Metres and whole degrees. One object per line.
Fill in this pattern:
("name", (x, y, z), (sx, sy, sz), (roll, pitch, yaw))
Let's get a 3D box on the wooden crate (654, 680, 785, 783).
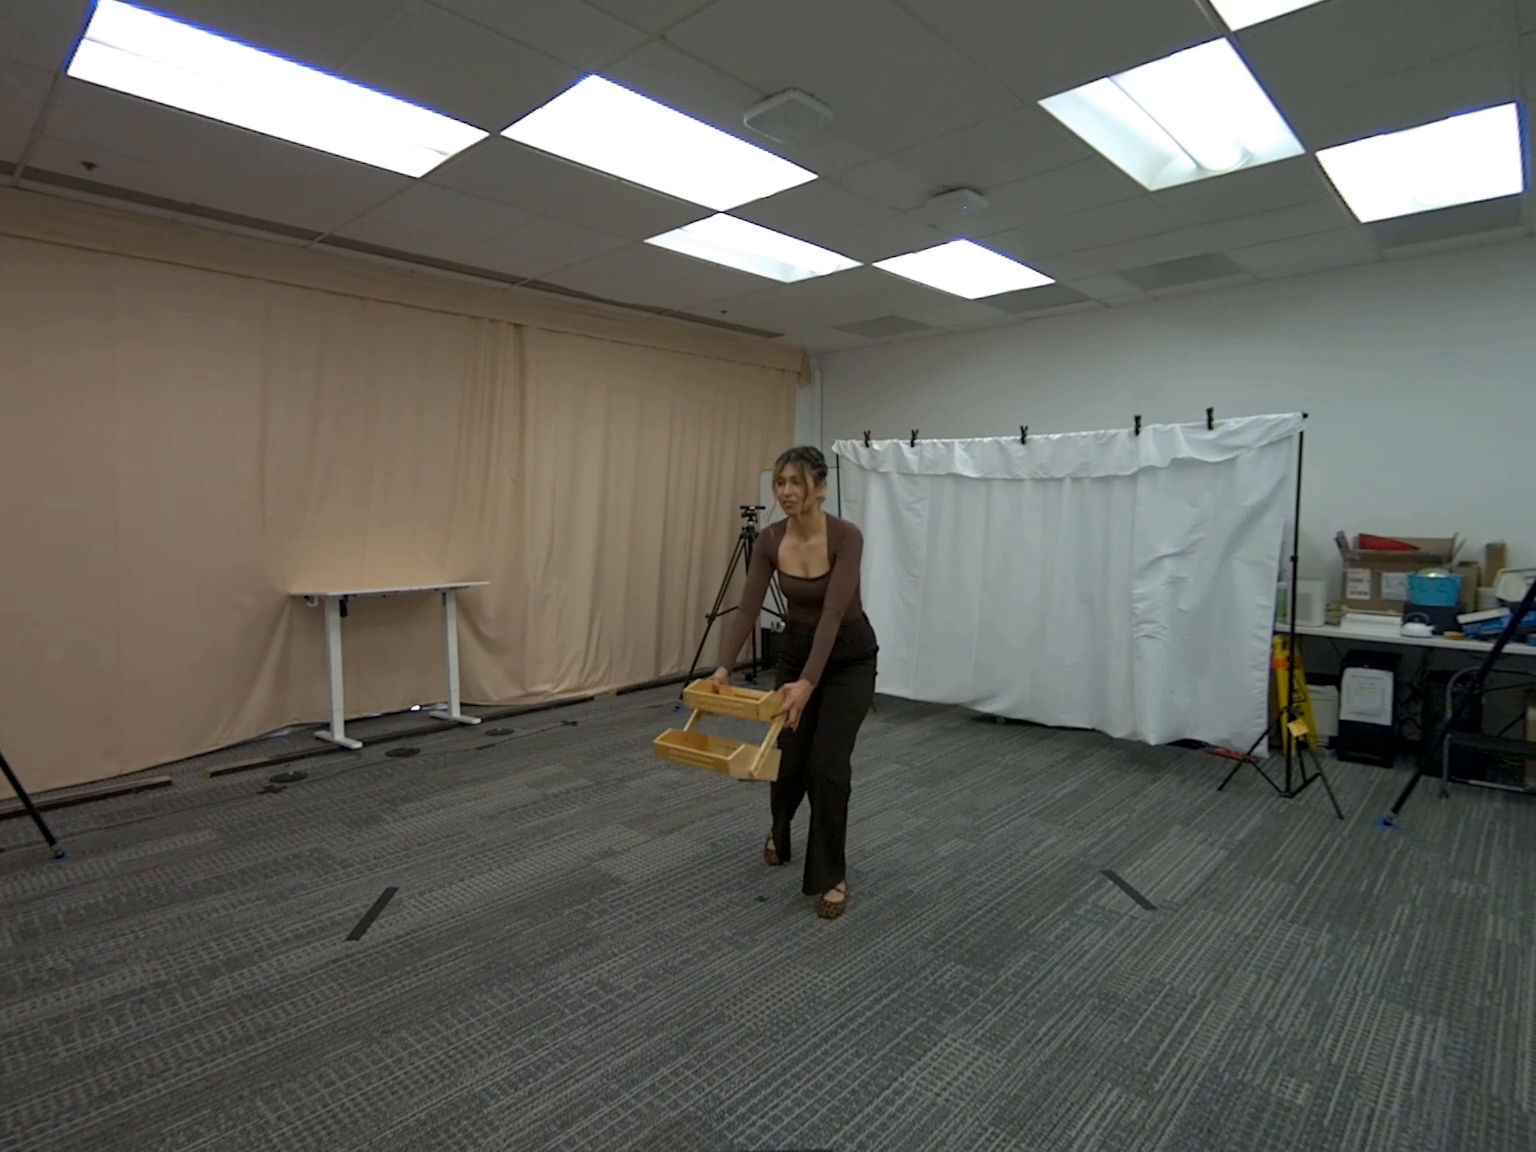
("wooden crate", (-0.125, 0.467, 2.595), (0.335, 0.274, 0.291), (3, -13, 38))
